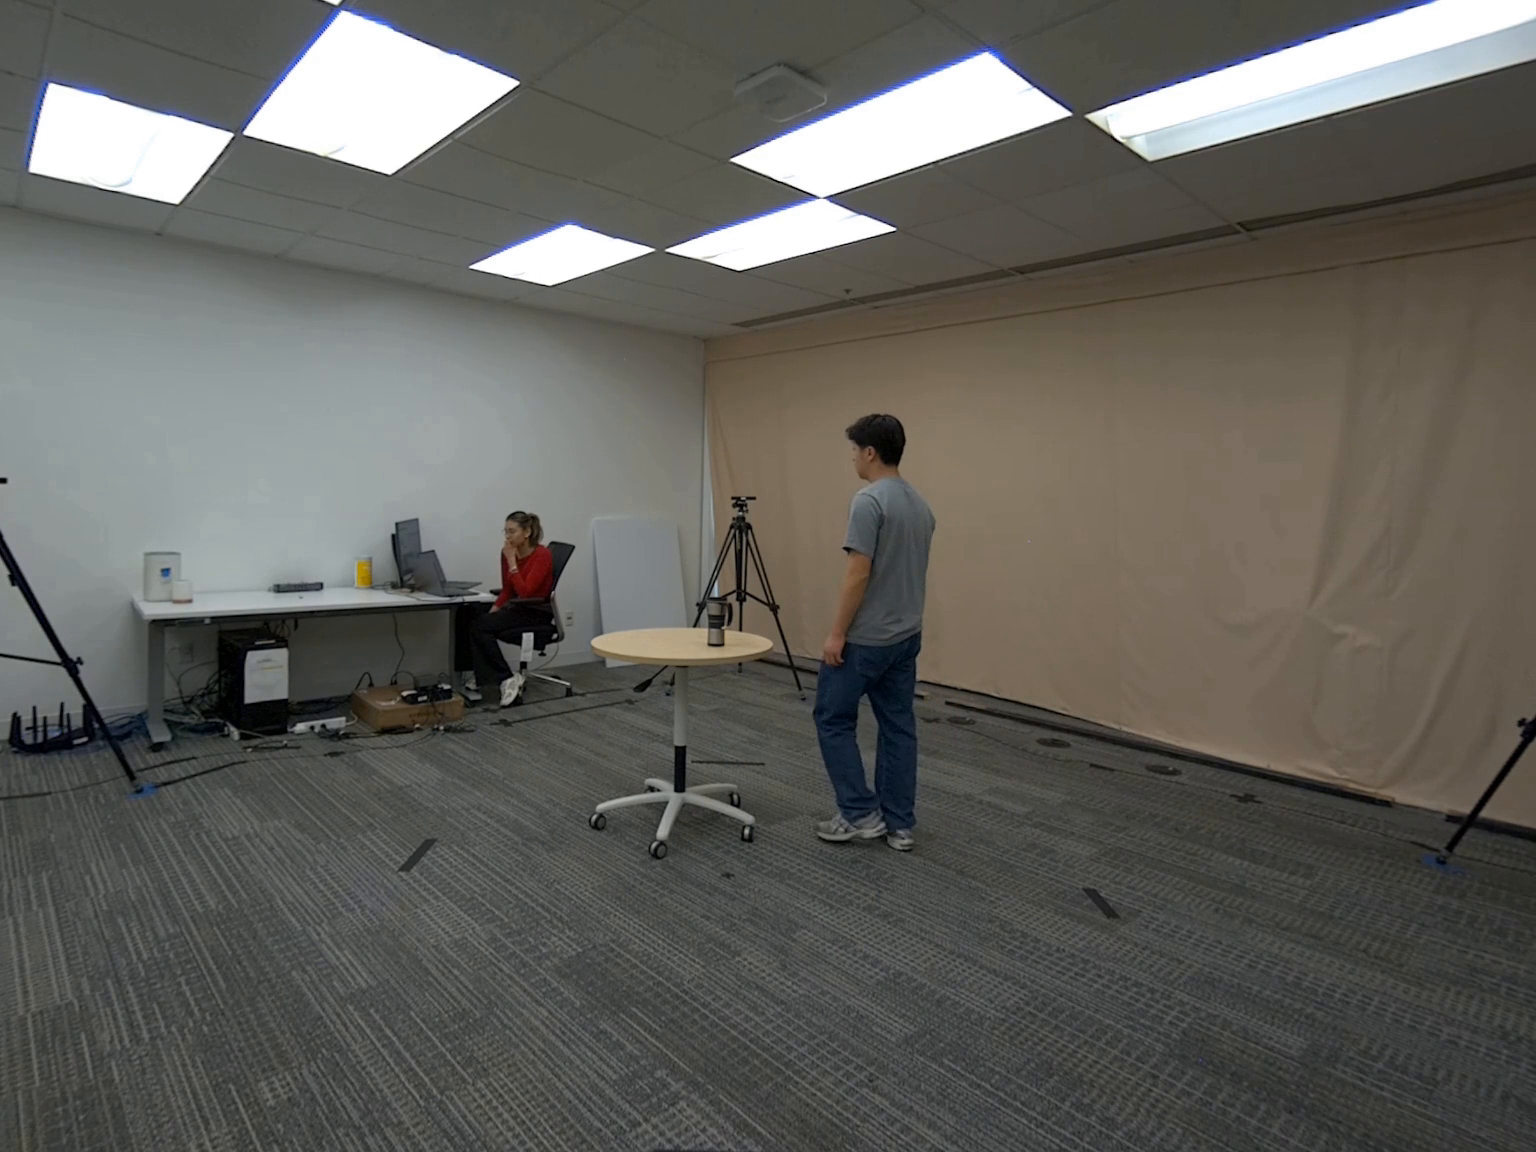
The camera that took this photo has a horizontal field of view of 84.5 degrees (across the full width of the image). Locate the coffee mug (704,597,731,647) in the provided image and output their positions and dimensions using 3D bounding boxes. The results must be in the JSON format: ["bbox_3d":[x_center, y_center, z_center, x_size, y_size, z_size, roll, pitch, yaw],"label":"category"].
[{"bbox_3d":[-0.208,0.189,3.455,0.086,0.203,0.123,3,-2,-20],"label":"coffee mug"}]
